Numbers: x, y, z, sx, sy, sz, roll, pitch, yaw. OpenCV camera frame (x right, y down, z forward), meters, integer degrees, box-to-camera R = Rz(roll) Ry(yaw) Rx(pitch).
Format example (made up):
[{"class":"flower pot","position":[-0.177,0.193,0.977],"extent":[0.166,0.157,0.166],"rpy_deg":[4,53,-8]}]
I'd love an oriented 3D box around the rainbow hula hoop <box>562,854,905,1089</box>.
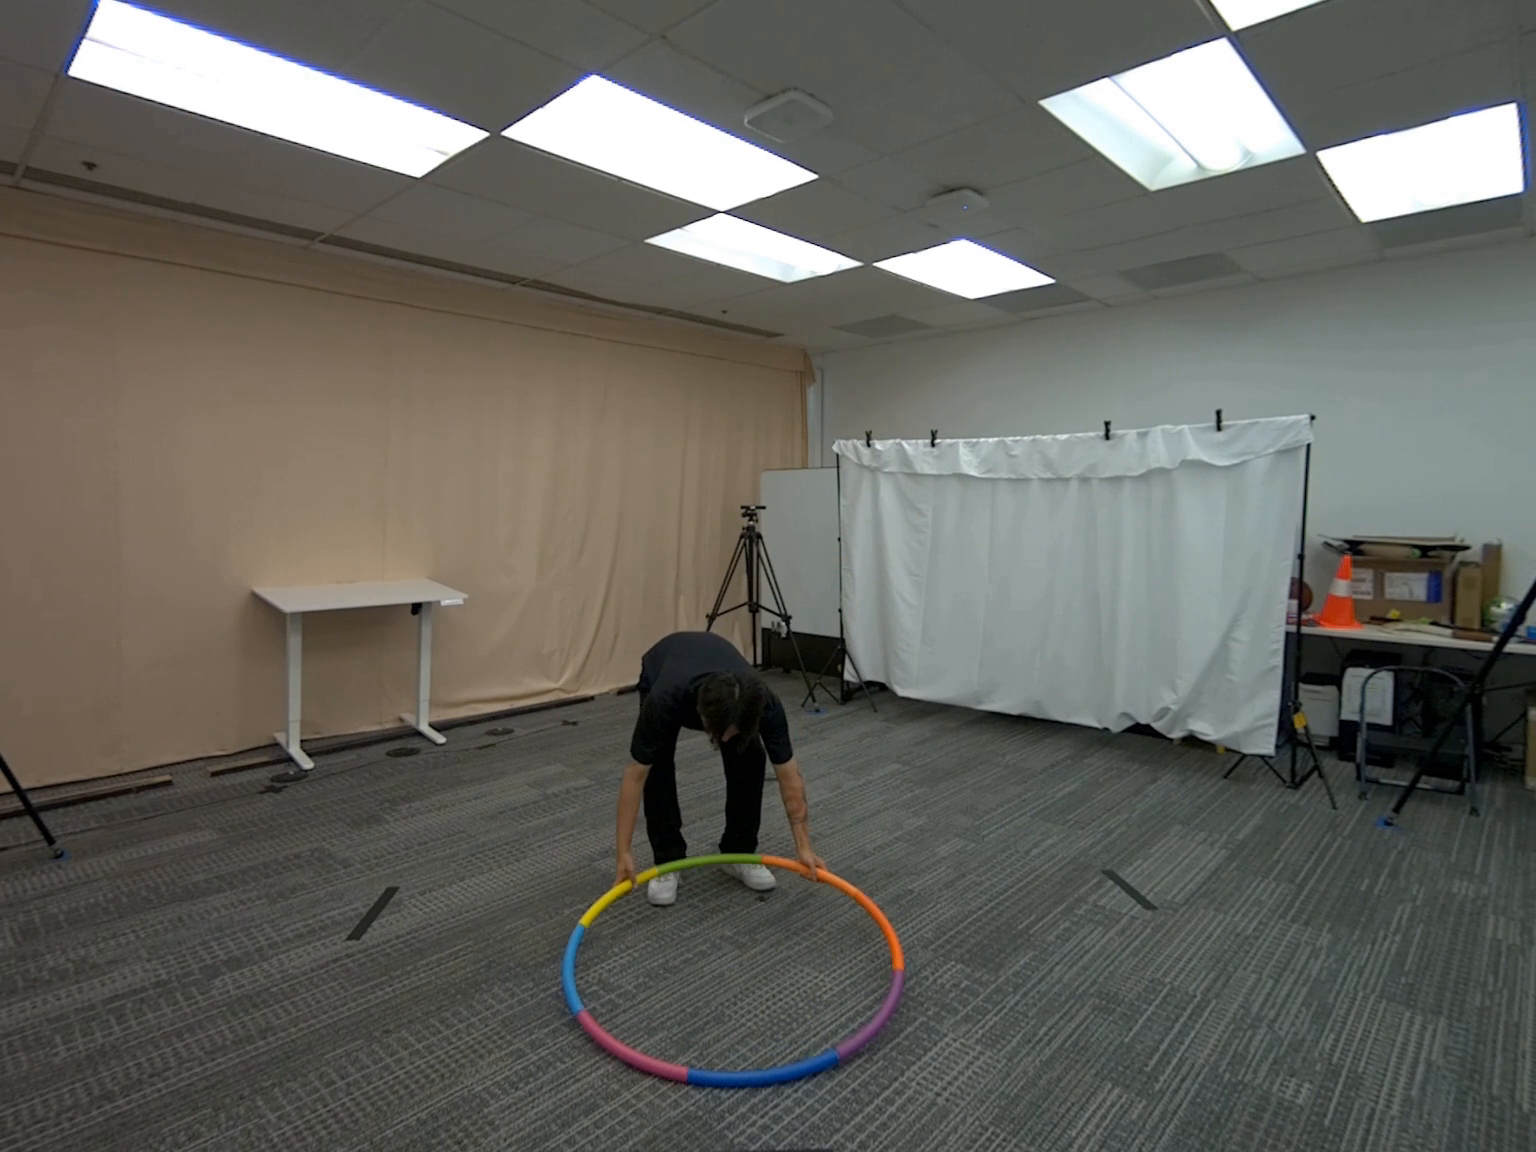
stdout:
[{"class":"rainbow hula hoop","position":[-0.092,1.094,2.484],"extent":[0.978,0.035,0.988],"rpy_deg":[-2,14,-1]}]
